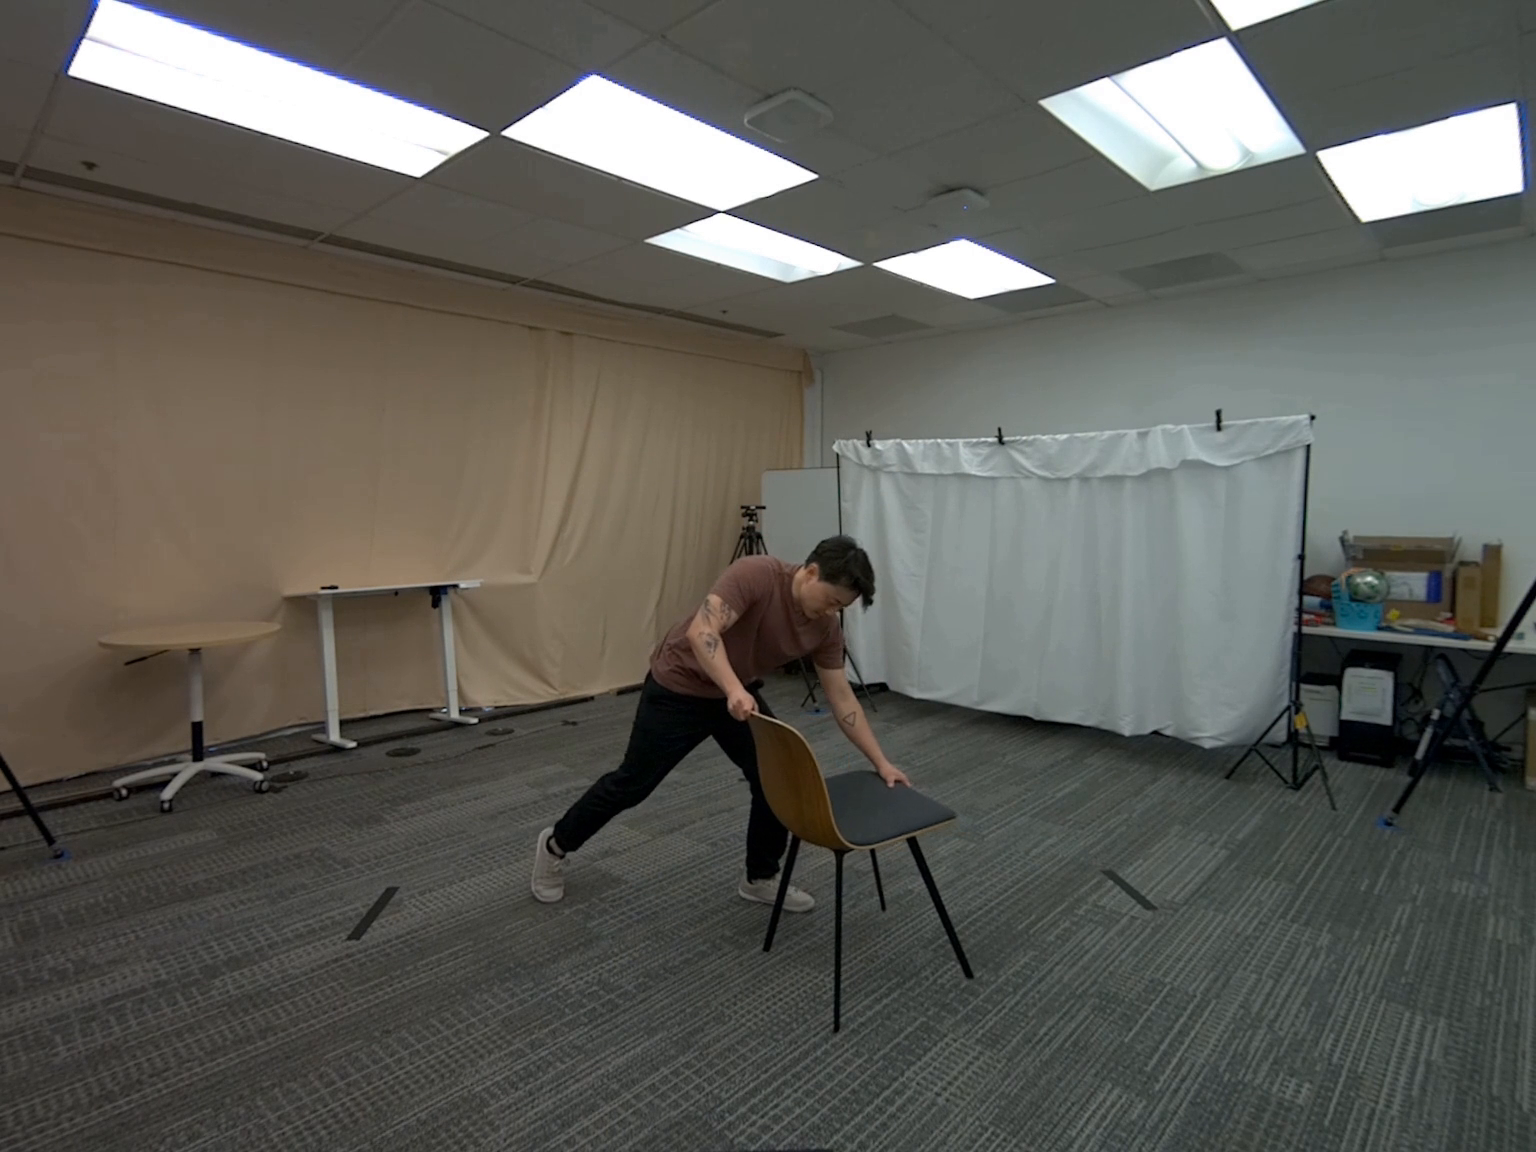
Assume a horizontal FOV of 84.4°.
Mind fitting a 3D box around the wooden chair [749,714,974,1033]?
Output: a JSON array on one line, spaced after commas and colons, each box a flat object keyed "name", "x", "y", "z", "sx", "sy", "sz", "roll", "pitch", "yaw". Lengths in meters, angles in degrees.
[{"name": "wooden chair", "x": 0.253, "y": 0.738, "z": 2.469, "sx": 0.513, "sy": 0.872, "sz": 0.490, "roll": -13, "pitch": 8, "yaw": -23}]
